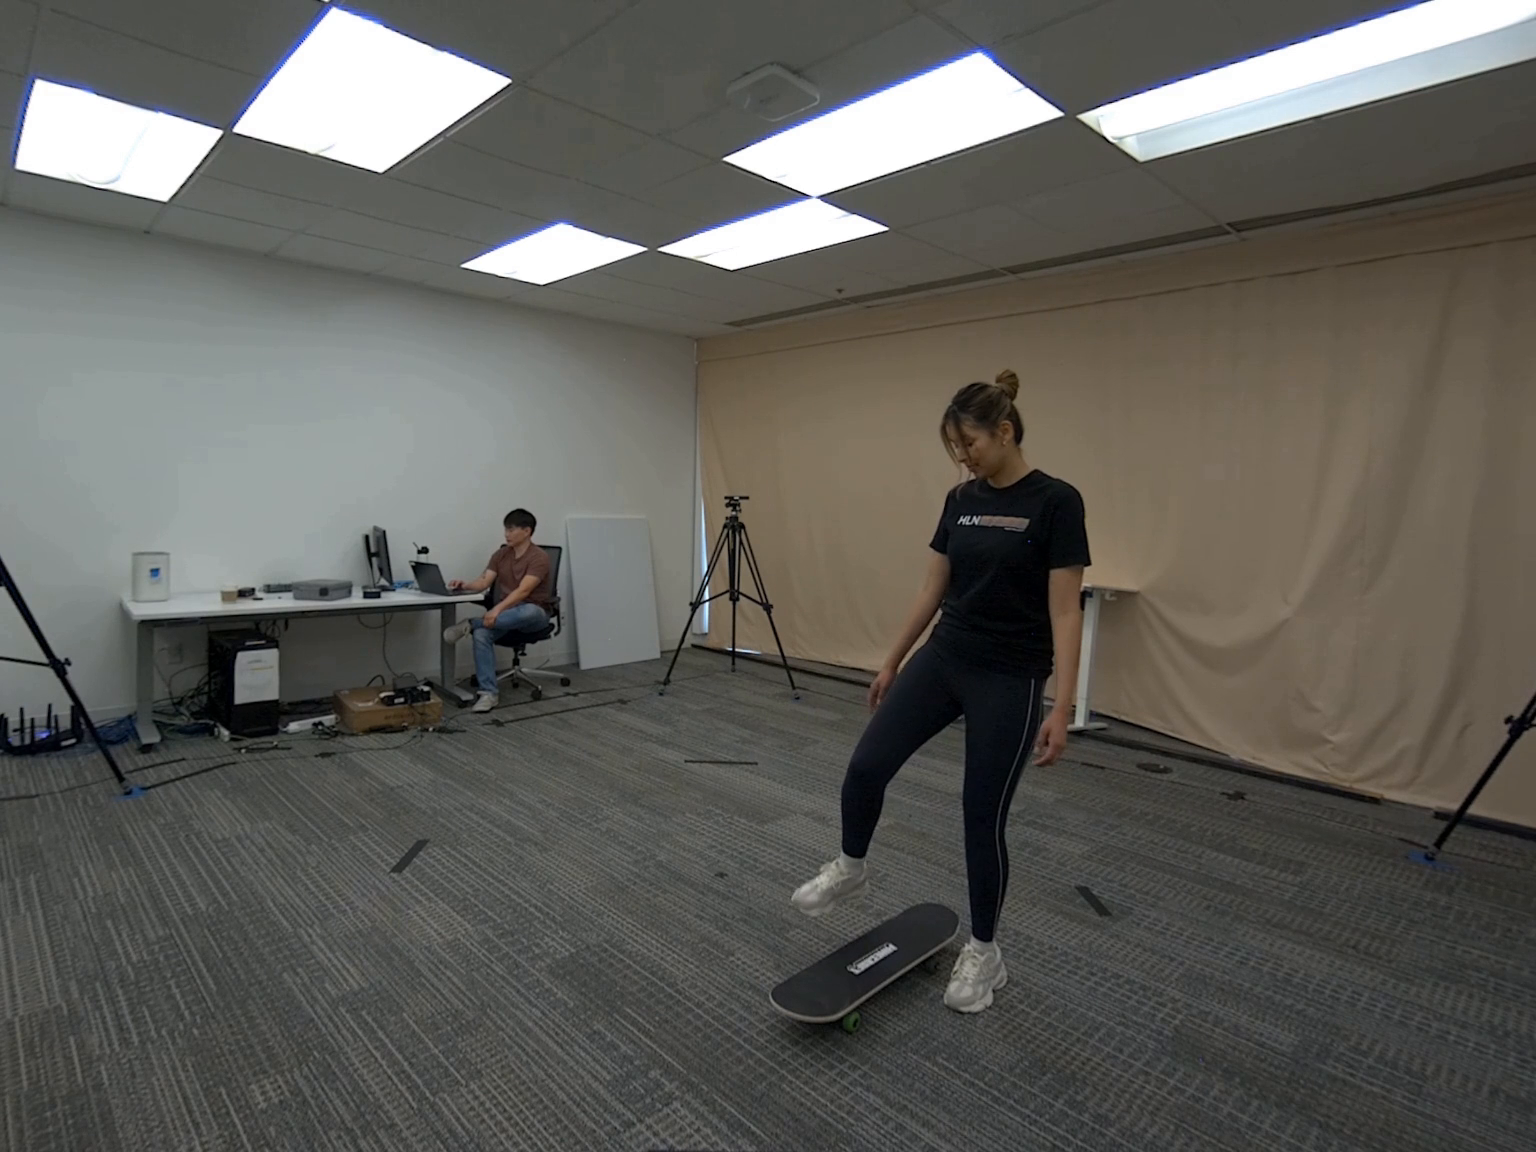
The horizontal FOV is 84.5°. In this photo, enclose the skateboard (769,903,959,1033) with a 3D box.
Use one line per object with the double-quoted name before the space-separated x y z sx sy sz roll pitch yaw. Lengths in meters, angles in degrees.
"skateboard" 0.292 1.121 2.402 0.198 0.110 0.768 6 7 43
